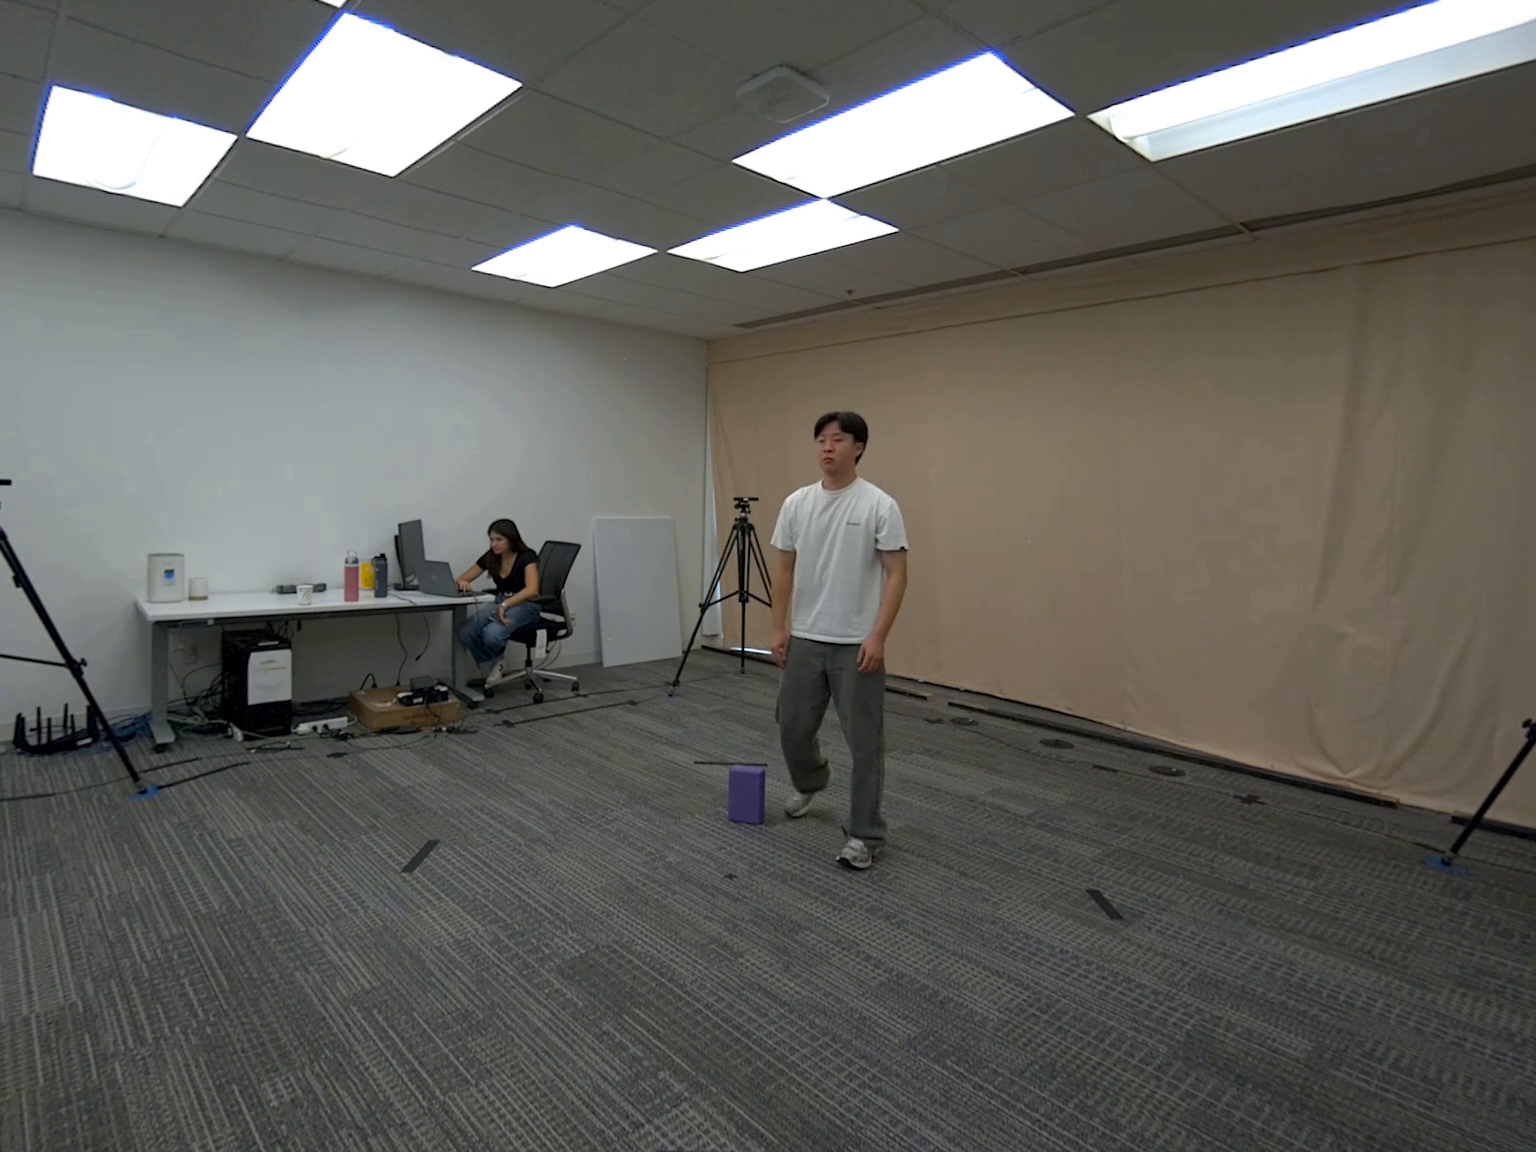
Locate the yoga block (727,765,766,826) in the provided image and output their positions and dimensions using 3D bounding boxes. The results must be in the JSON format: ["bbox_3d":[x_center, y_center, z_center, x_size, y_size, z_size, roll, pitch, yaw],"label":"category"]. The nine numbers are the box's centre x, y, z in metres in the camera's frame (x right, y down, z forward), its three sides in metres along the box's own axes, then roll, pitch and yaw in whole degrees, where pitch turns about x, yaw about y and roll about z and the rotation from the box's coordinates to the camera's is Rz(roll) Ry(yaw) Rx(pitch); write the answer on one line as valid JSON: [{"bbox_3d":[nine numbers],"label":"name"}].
[{"bbox_3d":[-0.101,0.946,3.647,0.151,0.229,0.075,2,4,17],"label":"yoga block"}]
